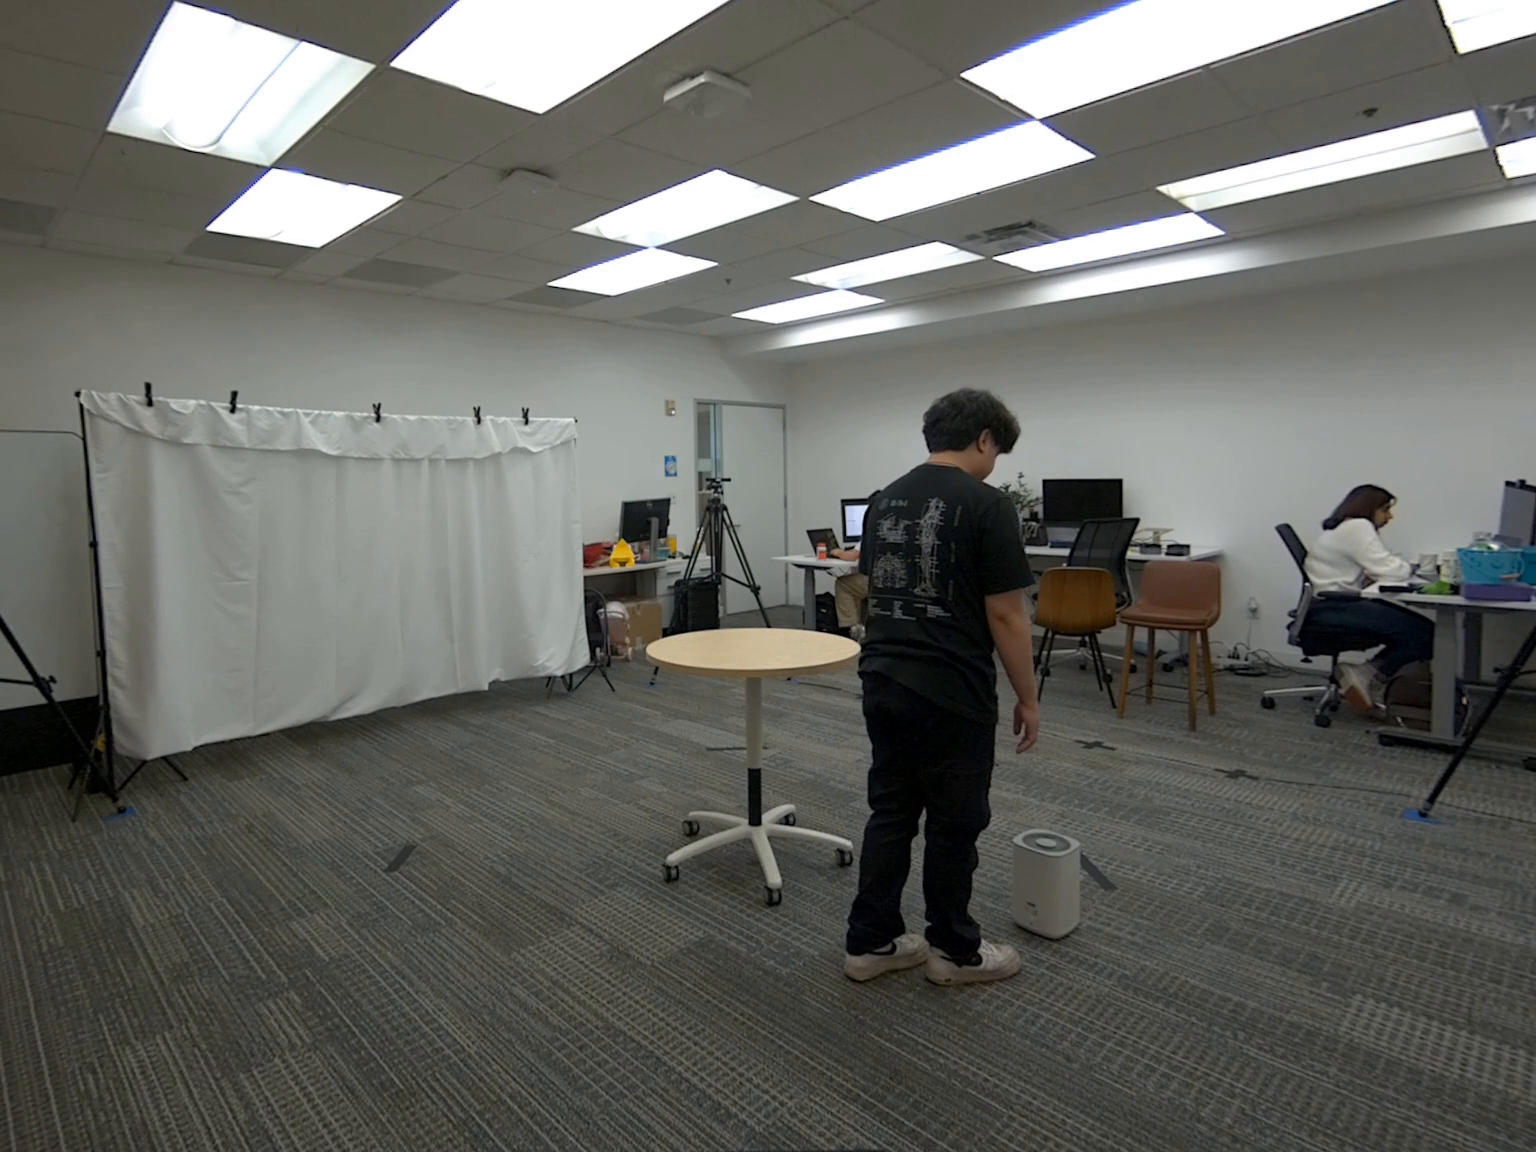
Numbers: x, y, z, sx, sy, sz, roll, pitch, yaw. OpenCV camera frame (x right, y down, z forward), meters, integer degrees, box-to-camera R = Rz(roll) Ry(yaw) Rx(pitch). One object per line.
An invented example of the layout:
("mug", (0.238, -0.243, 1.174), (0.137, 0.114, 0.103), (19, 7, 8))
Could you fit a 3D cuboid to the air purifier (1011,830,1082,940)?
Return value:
("air purifier", (0.862, 0.948, 2.628), (0.167, 0.264, 0.176), (-5, 6, -44))
